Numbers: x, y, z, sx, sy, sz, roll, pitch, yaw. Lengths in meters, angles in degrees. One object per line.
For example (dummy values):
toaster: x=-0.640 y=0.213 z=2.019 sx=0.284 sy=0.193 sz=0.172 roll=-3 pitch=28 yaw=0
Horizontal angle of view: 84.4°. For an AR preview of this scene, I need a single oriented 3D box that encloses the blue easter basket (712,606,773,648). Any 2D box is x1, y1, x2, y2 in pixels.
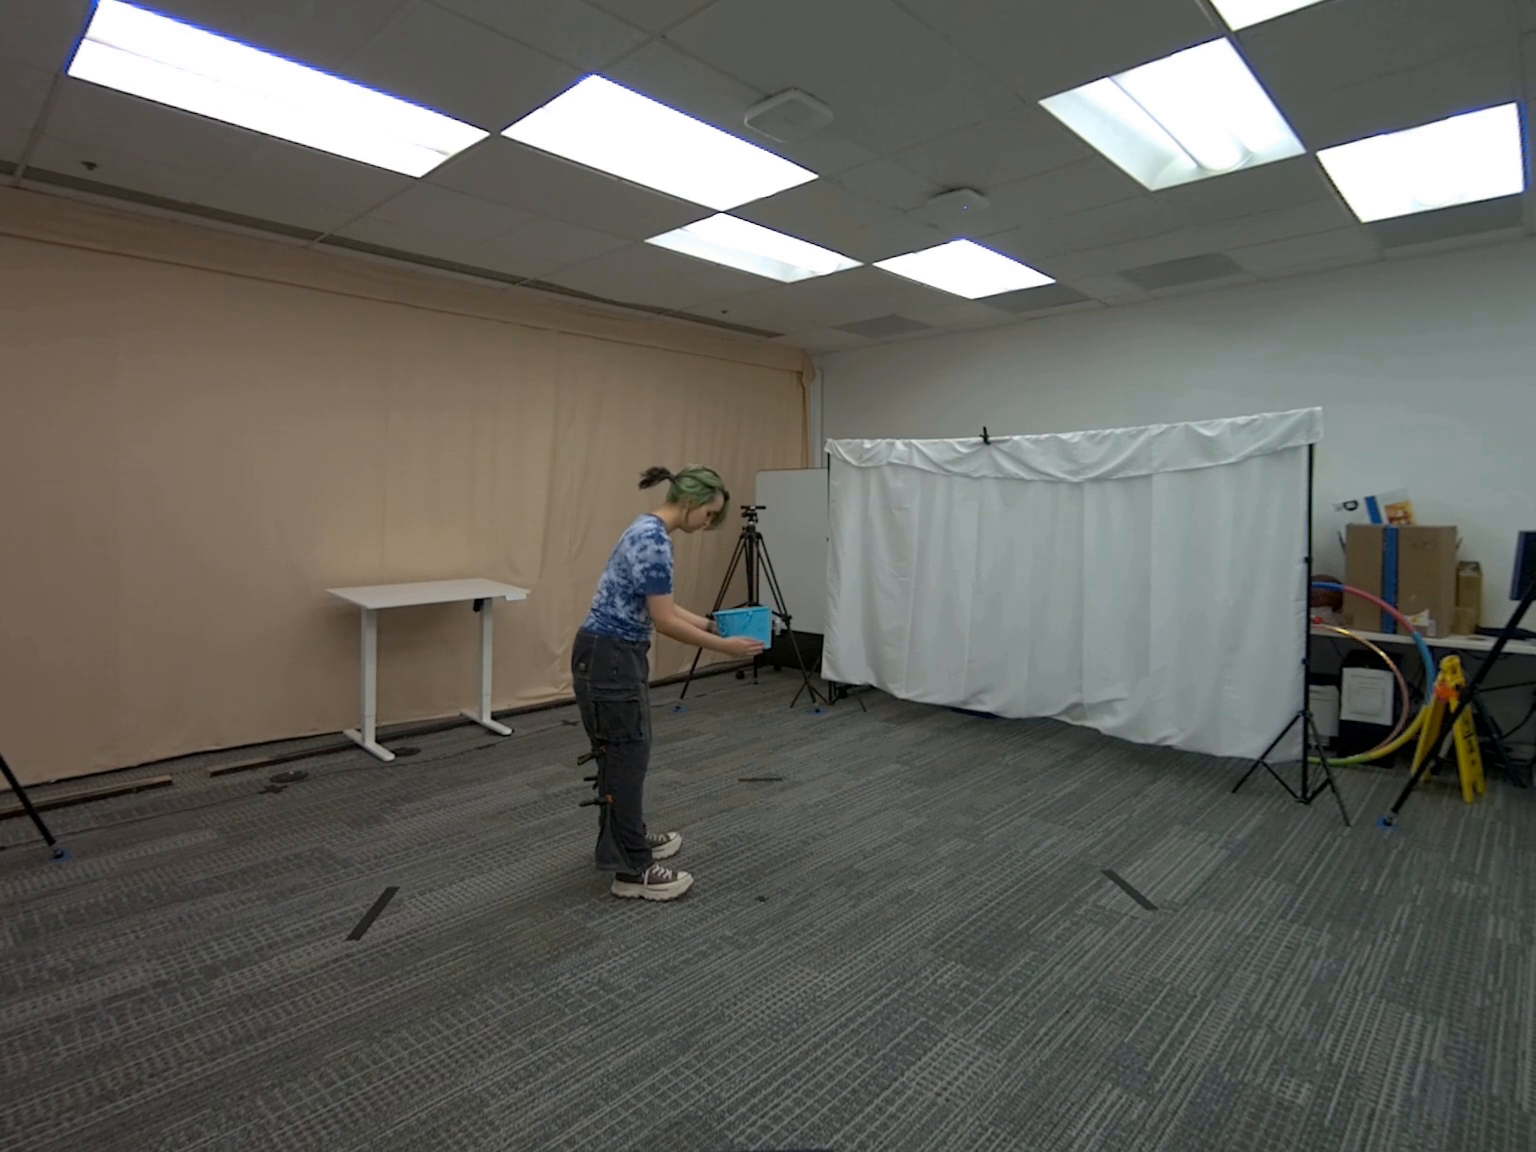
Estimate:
blue easter basket: x=-0.086 y=0.216 z=3.209 sx=0.243 sy=0.156 sz=0.244 roll=-6 pitch=1 yaw=-2
